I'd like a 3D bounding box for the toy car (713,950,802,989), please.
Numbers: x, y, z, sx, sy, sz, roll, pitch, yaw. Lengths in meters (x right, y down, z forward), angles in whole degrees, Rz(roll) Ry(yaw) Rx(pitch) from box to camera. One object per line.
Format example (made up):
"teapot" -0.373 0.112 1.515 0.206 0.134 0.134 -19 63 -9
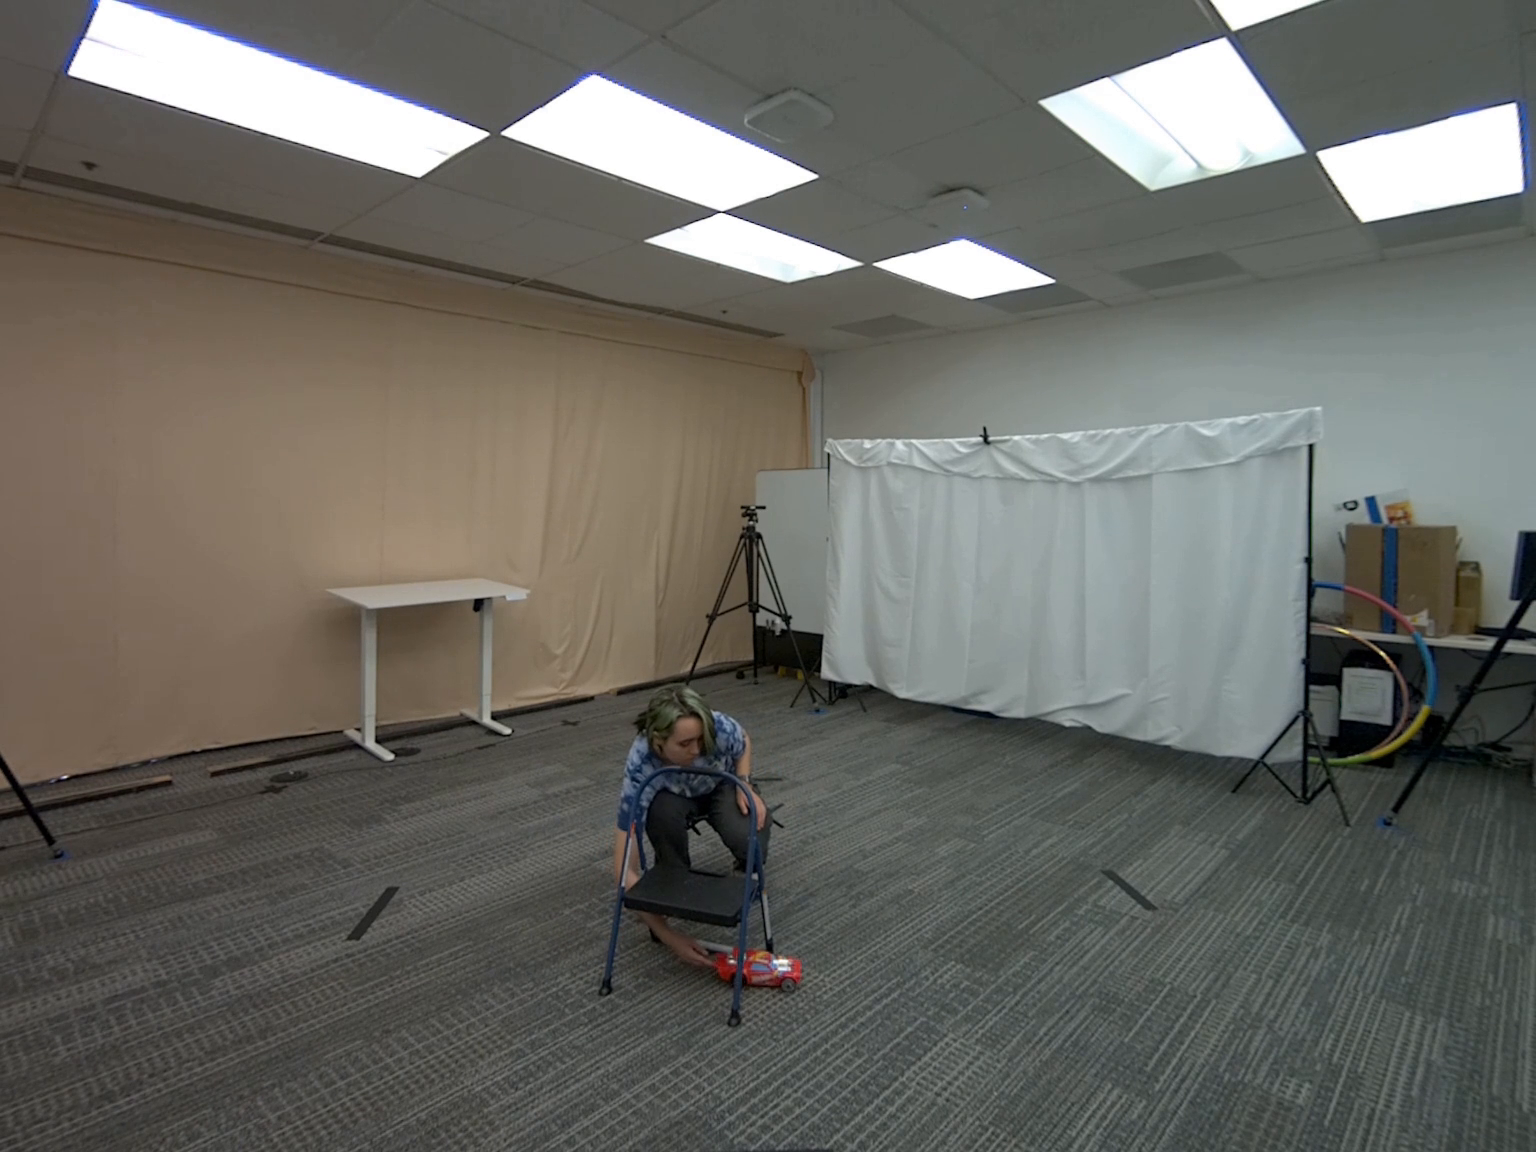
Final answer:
"toy car" -0.022 1.166 2.468 0.256 0.083 0.130 13 7 5
